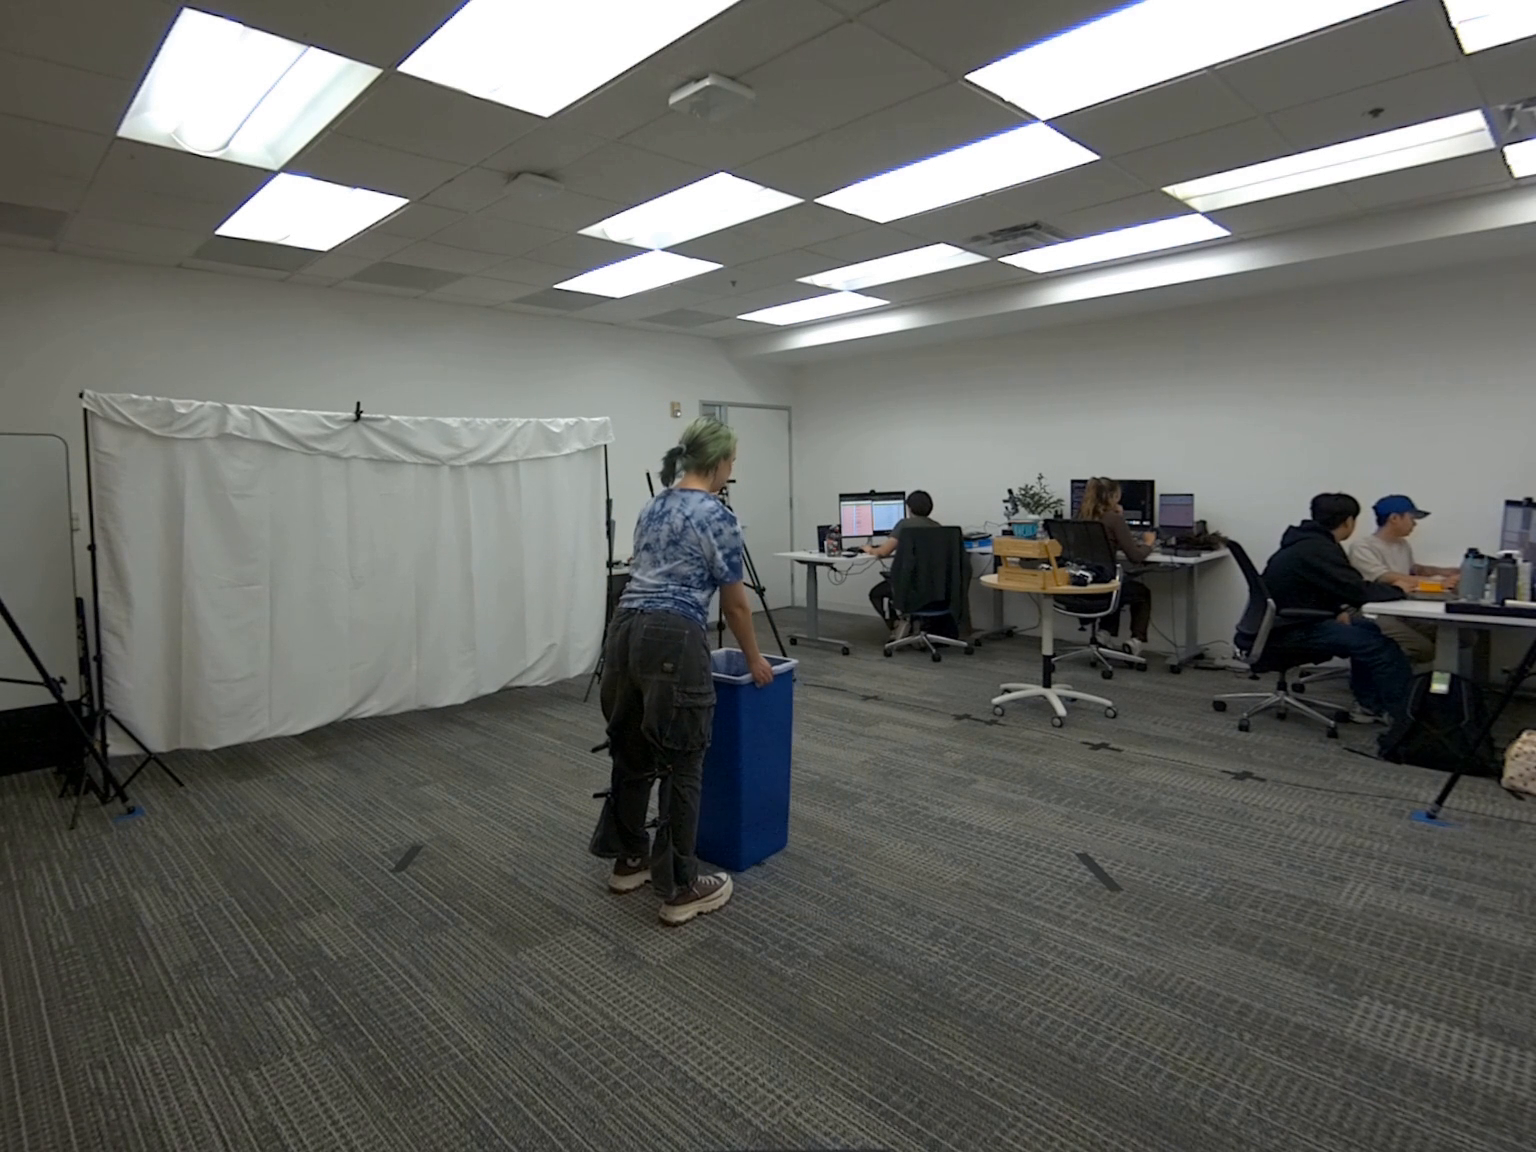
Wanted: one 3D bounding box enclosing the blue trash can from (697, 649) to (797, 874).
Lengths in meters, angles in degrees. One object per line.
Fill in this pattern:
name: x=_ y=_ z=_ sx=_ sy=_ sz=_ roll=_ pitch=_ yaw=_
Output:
blue trash can: x=-0.134 y=0.674 z=3.207 sx=0.385 sy=0.710 sz=0.368 roll=5 pitch=7 yaw=38
